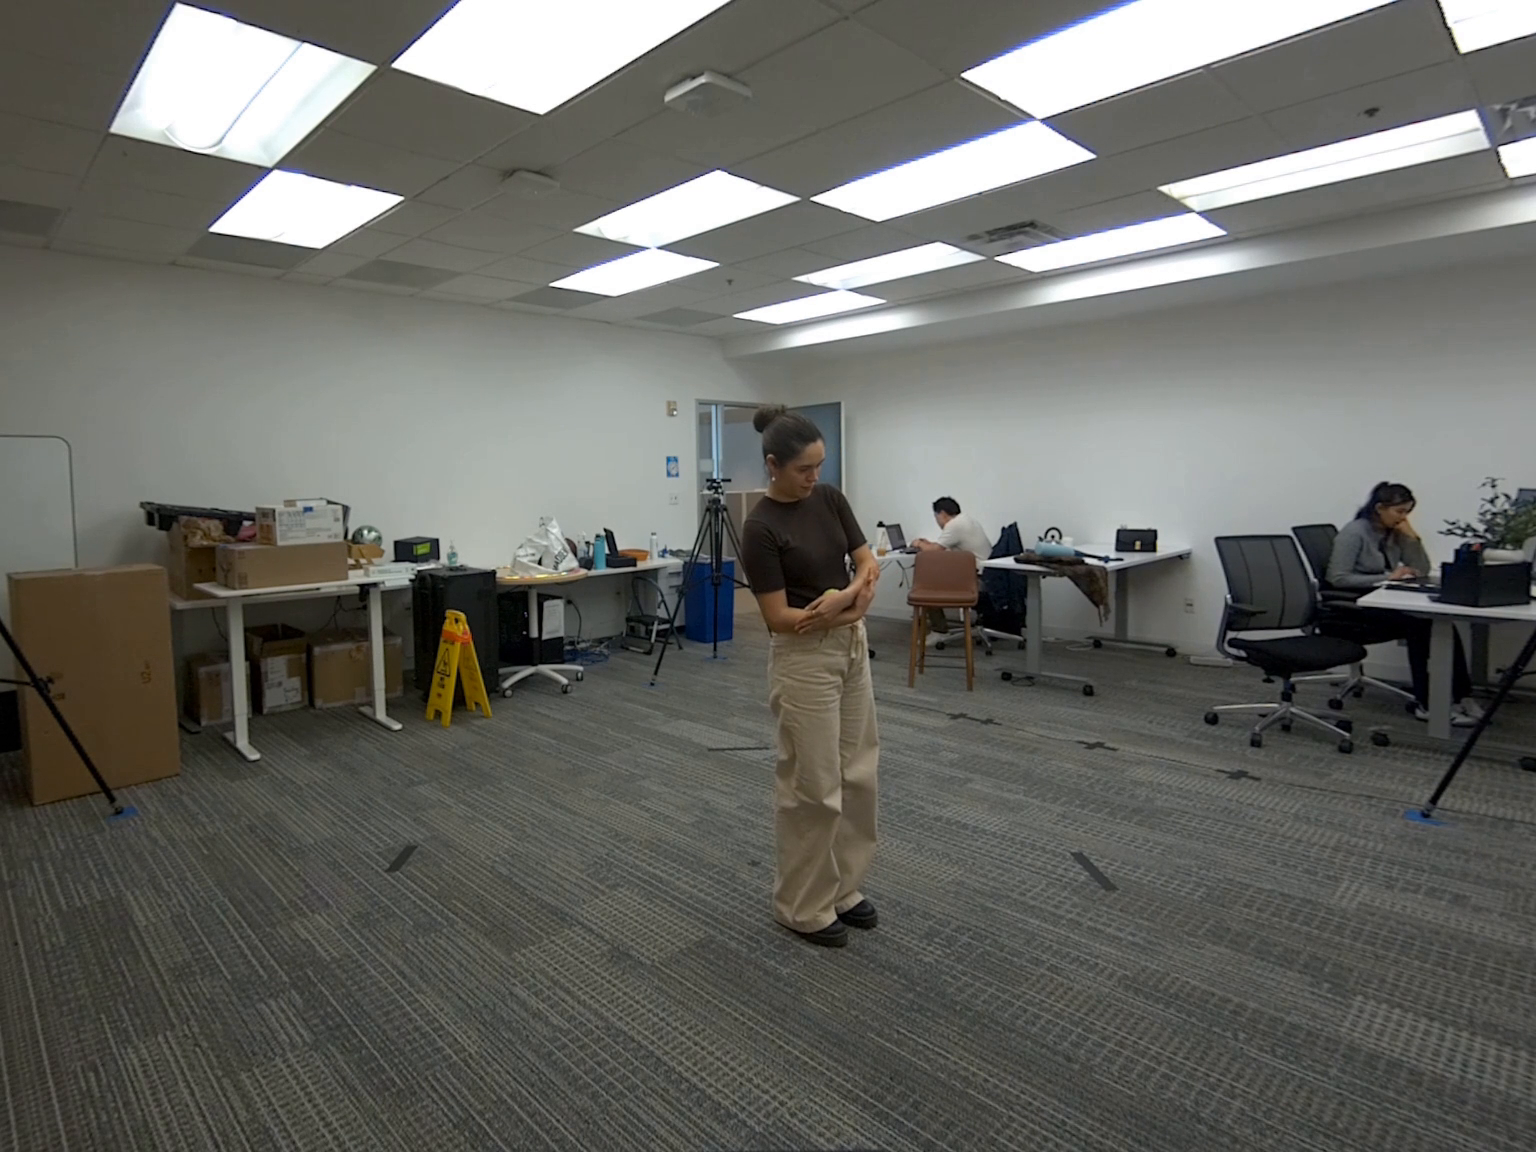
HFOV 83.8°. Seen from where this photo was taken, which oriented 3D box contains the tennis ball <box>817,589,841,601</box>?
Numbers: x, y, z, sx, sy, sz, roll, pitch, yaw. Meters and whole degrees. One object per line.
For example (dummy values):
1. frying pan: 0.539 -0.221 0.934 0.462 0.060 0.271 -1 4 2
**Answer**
1. tennis ball: 0.181 0.071 2.534 0.066 0.066 0.067 -1 5 -2
